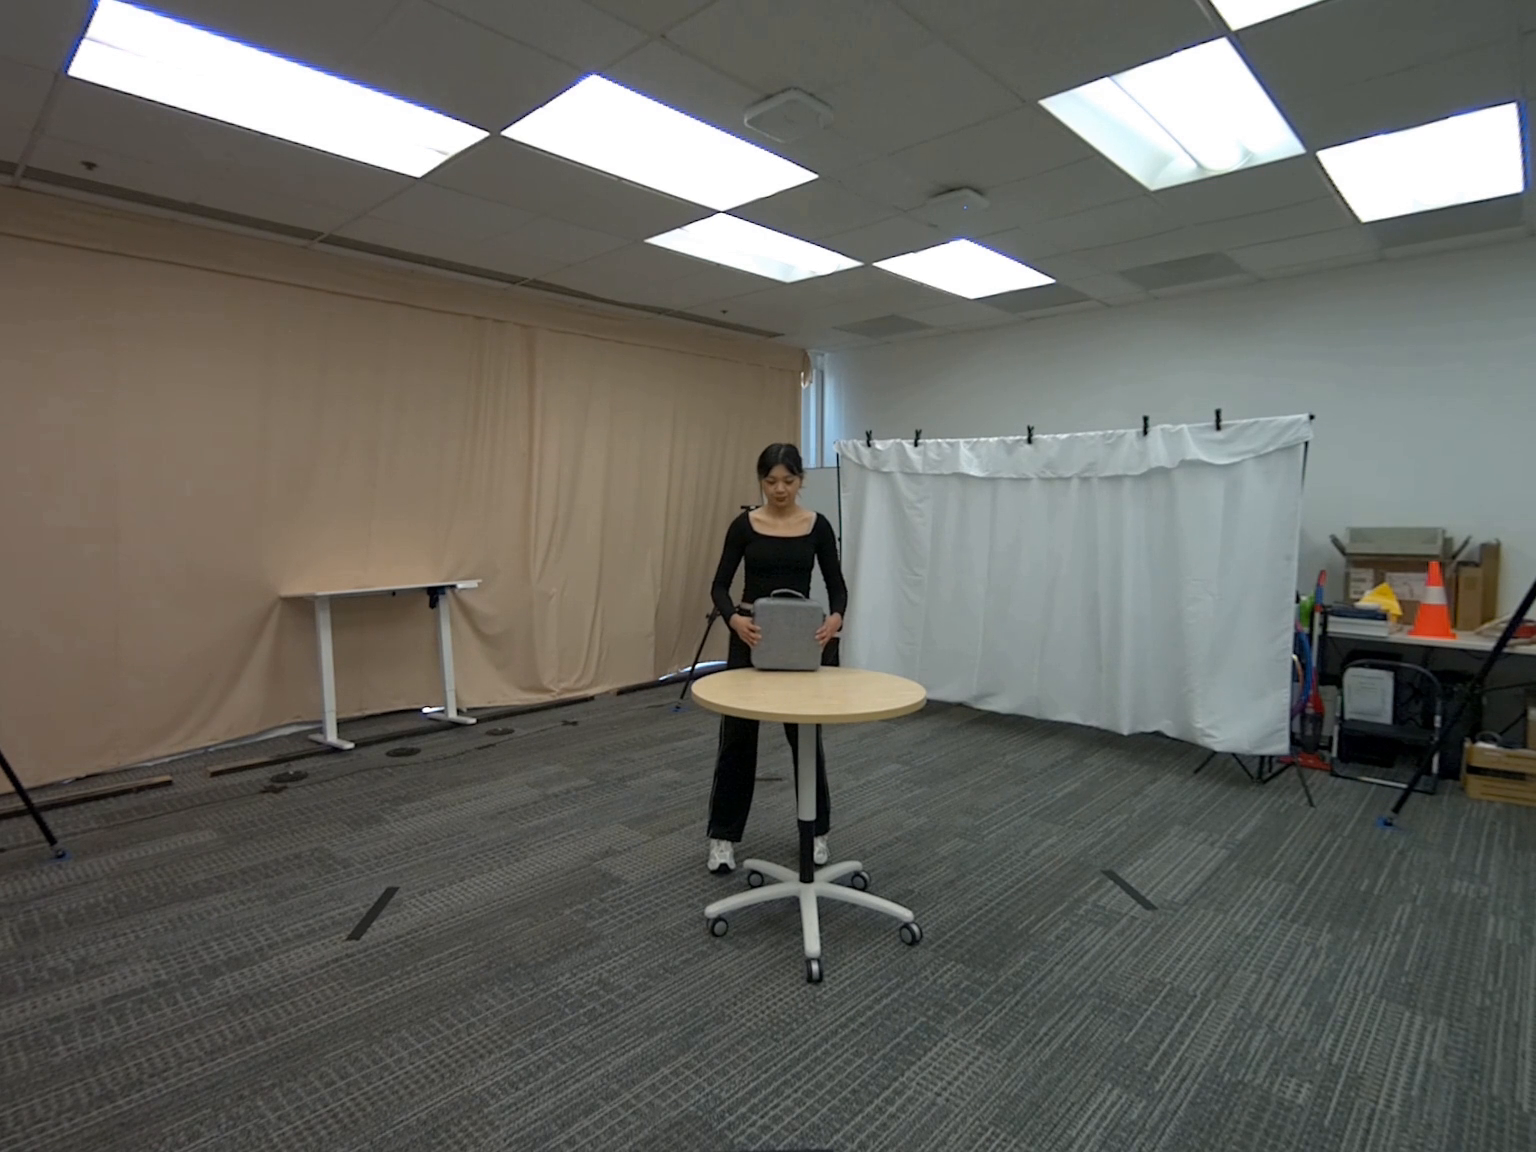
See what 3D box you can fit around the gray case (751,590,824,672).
[{"bbox_3d":[0.076,0.210,3.072,0.257,0.260,0.105,1,5,-1],"label":"gray case"}]
